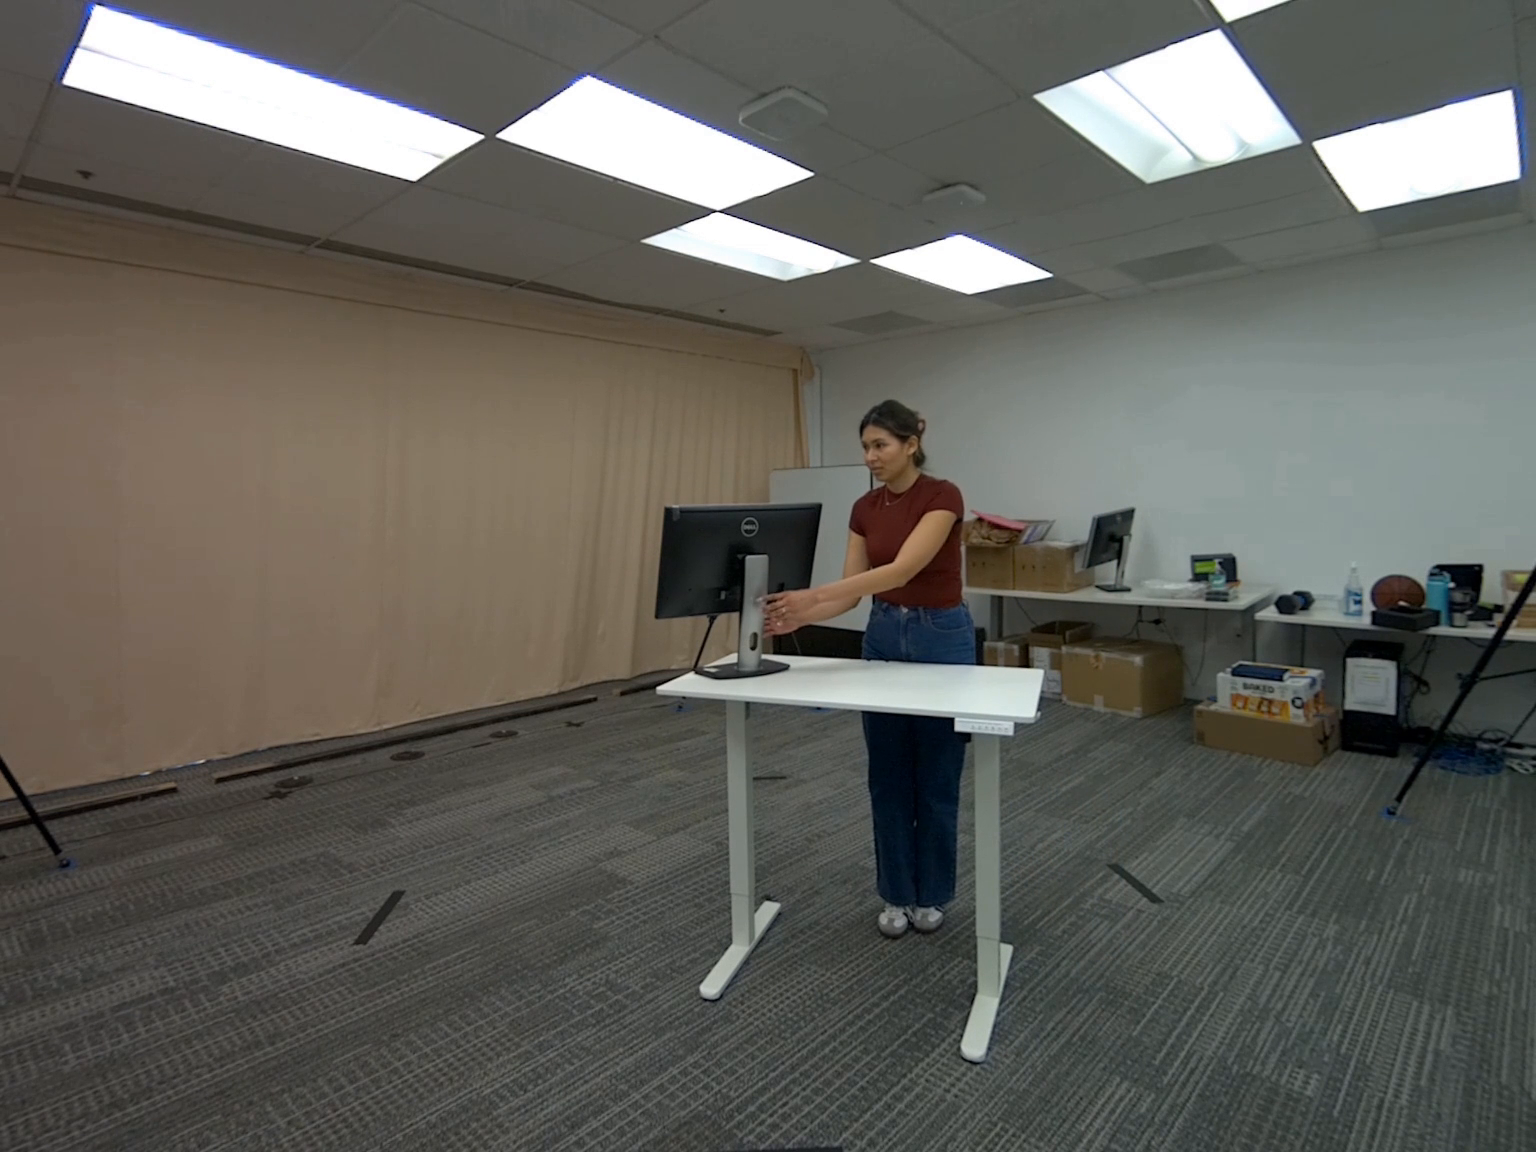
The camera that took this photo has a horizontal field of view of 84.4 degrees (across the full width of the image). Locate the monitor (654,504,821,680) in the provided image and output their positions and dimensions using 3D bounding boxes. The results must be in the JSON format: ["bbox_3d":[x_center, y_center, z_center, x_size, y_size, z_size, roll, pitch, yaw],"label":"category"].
[{"bbox_3d":[-0.068,0.043,2.573,0.525,0.520,0.193,-3,7,-28],"label":"monitor"}]
